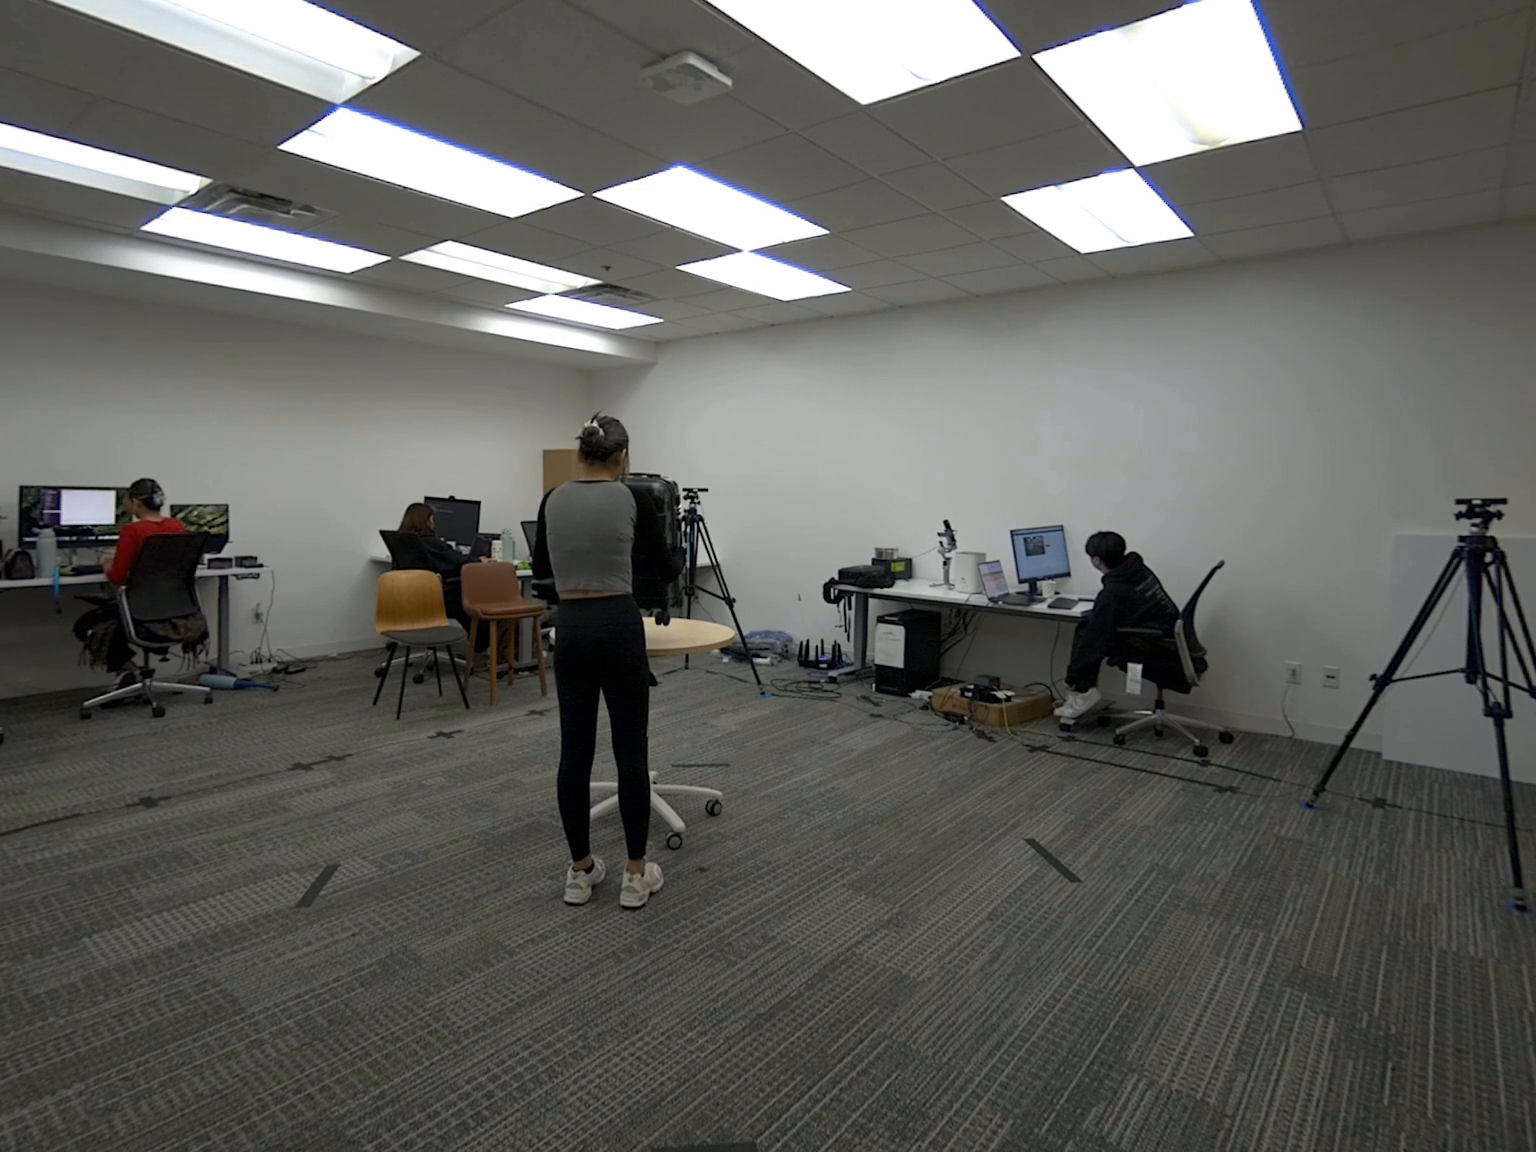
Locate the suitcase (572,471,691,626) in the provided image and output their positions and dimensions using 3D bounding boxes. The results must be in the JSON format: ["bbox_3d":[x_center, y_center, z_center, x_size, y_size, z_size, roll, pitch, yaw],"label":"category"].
[{"bbox_3d":[-0.530,-0.122,3.307,0.381,0.542,0.247,3,13,14],"label":"suitcase"}]
